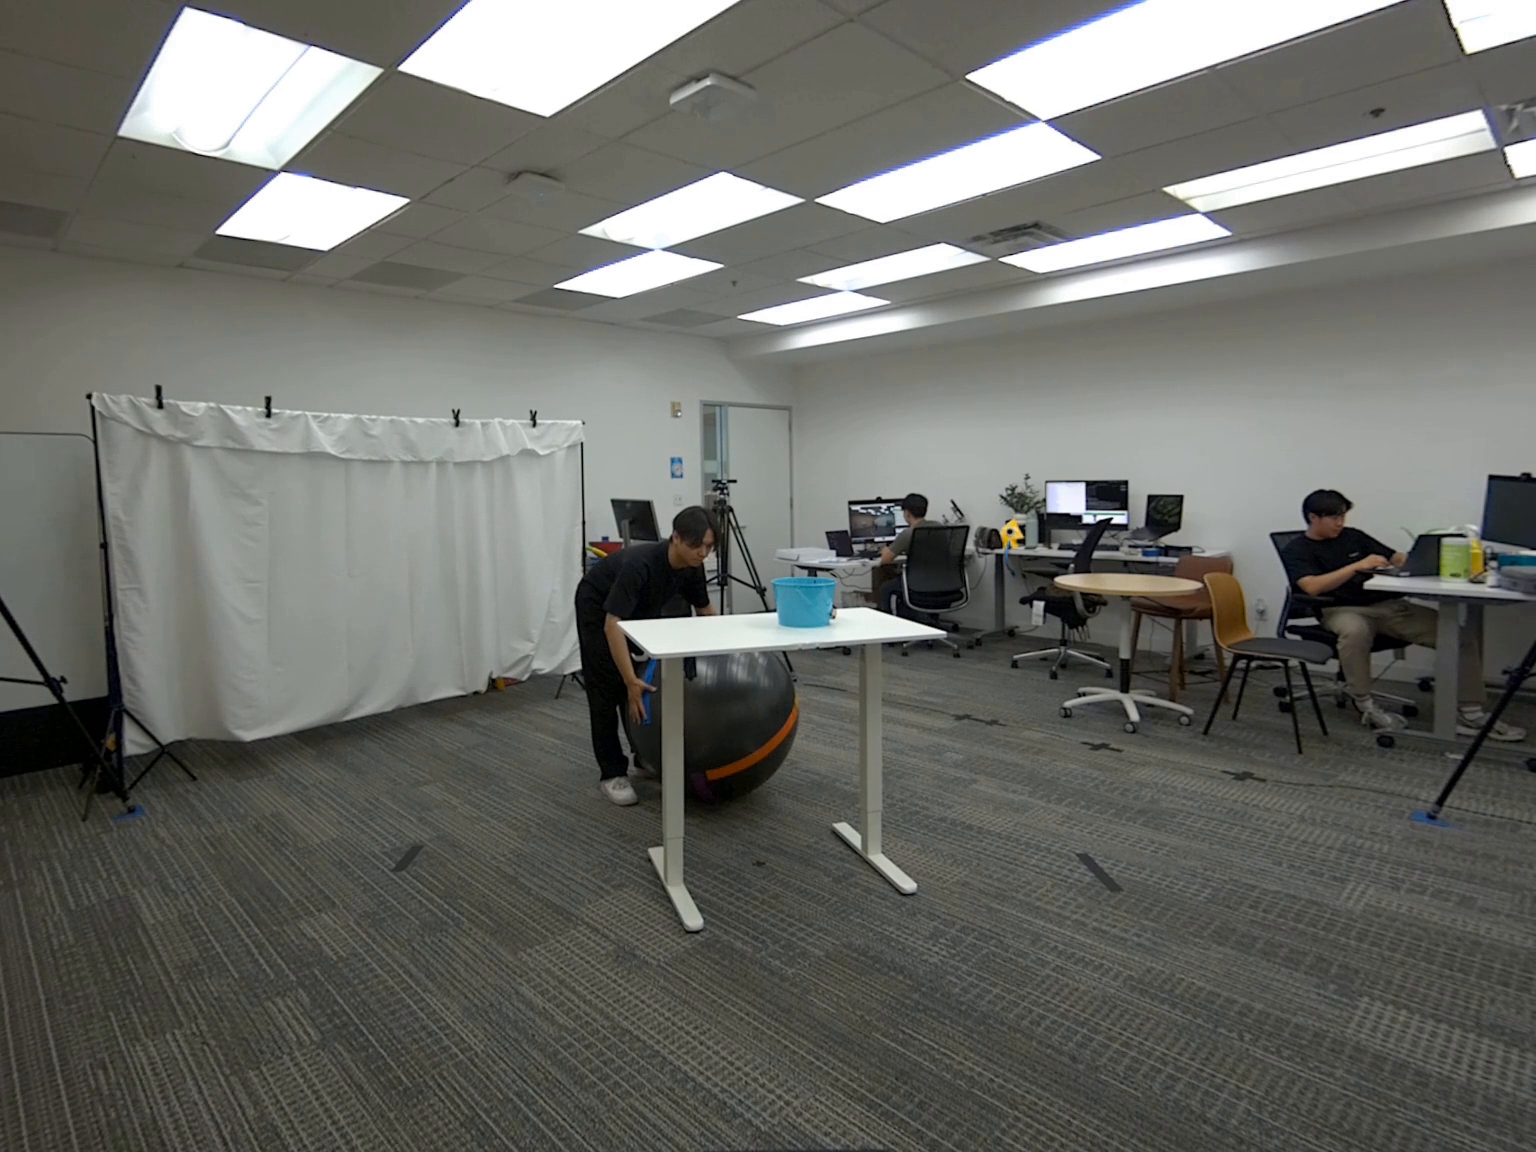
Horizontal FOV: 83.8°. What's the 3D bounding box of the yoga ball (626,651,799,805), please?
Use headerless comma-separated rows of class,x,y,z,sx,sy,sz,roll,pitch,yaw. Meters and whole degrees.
yoga ball,-0.243,0.601,3.783,0.757,0.755,0.762,-1,5,-2
